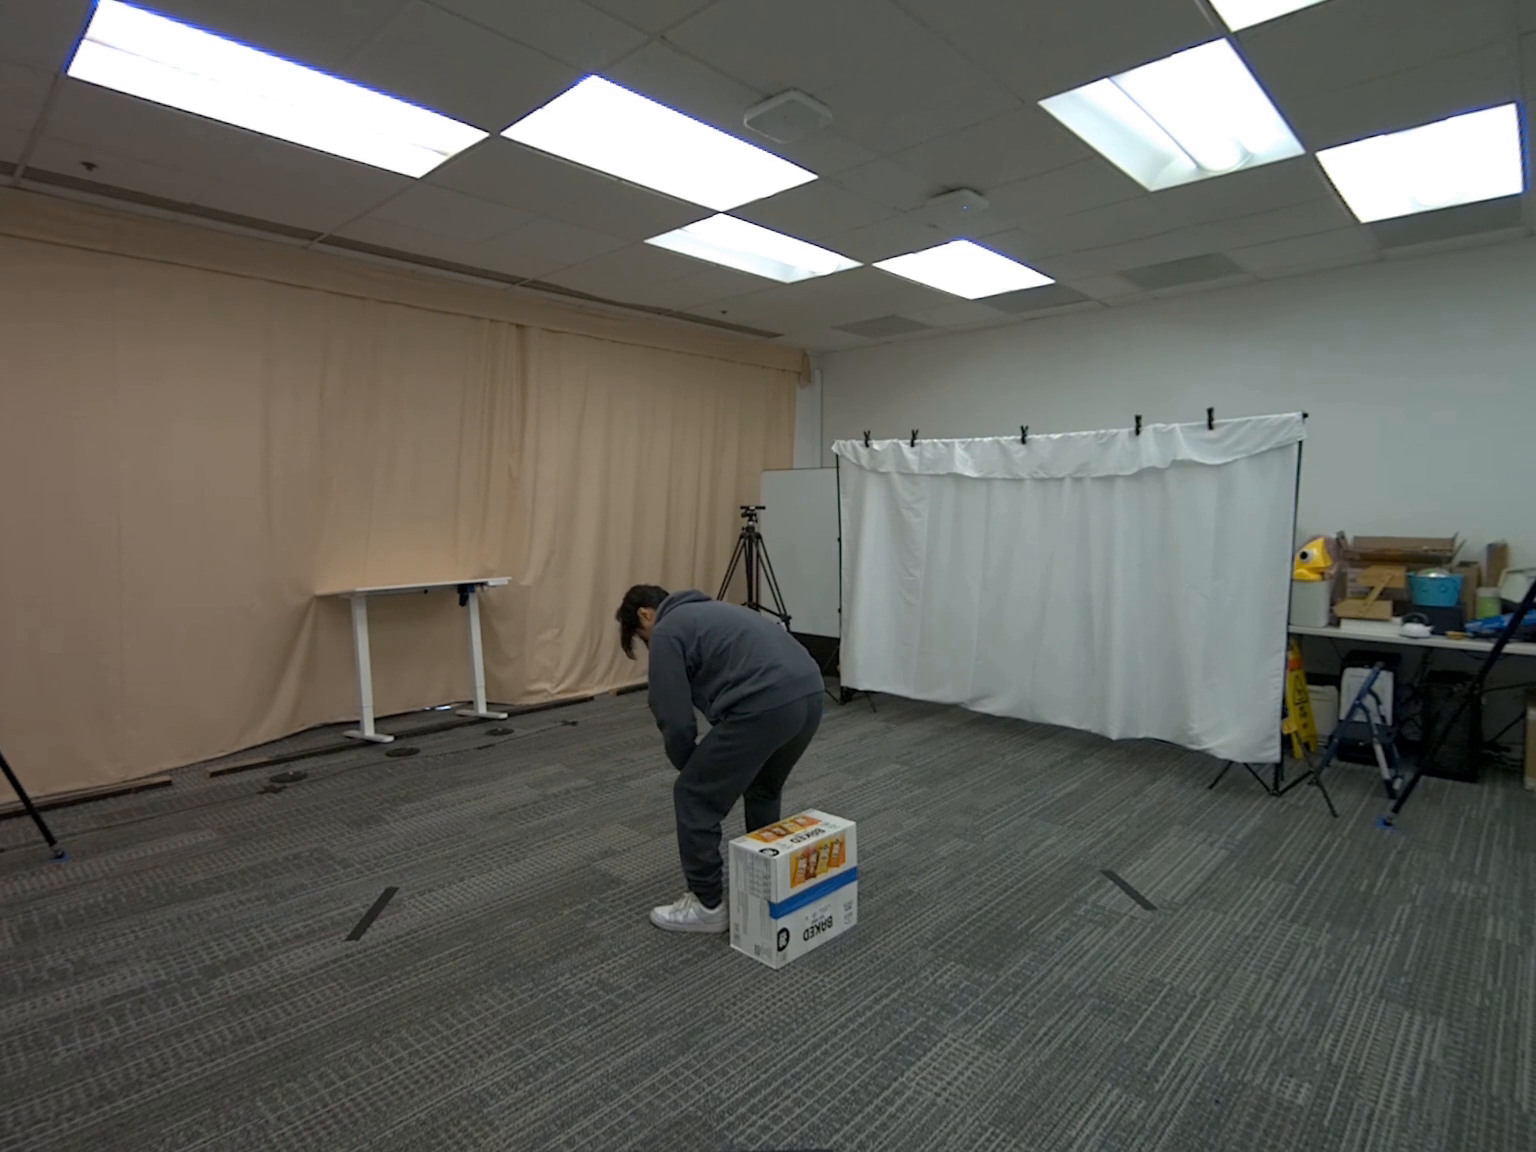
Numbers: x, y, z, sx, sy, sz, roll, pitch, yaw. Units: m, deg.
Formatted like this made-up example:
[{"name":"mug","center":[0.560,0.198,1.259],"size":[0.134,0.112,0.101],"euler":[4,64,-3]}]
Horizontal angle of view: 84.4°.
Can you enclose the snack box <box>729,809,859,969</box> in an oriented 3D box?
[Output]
[{"name":"snack box","center":[0.091,0.997,2.726],"size":[0.212,0.340,0.393],"euler":[1,4,44]}]
